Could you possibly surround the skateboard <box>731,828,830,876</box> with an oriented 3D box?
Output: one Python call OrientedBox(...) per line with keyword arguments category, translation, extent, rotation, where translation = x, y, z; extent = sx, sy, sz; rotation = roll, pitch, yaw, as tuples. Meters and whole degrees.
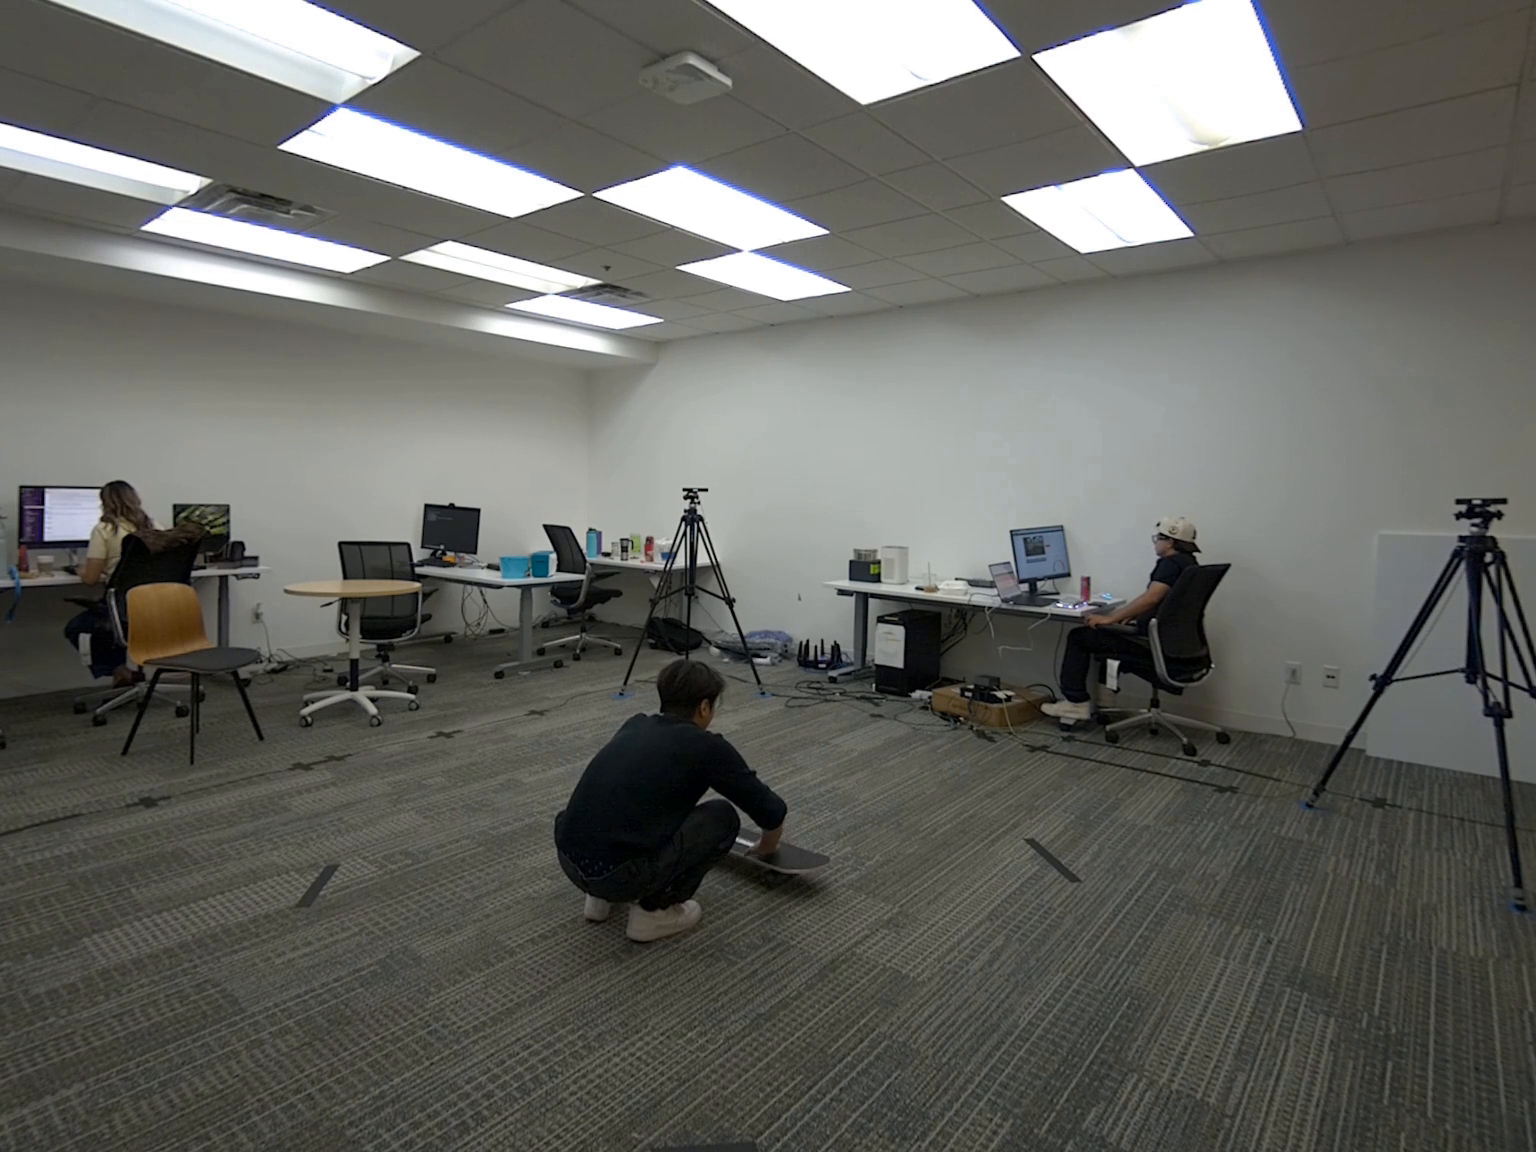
OrientedBox(category="skateboard", translation=(-0.125, 1.000, 3.165), extent=(0.812, 0.110, 0.188), rotation=(6, 6, 40))
